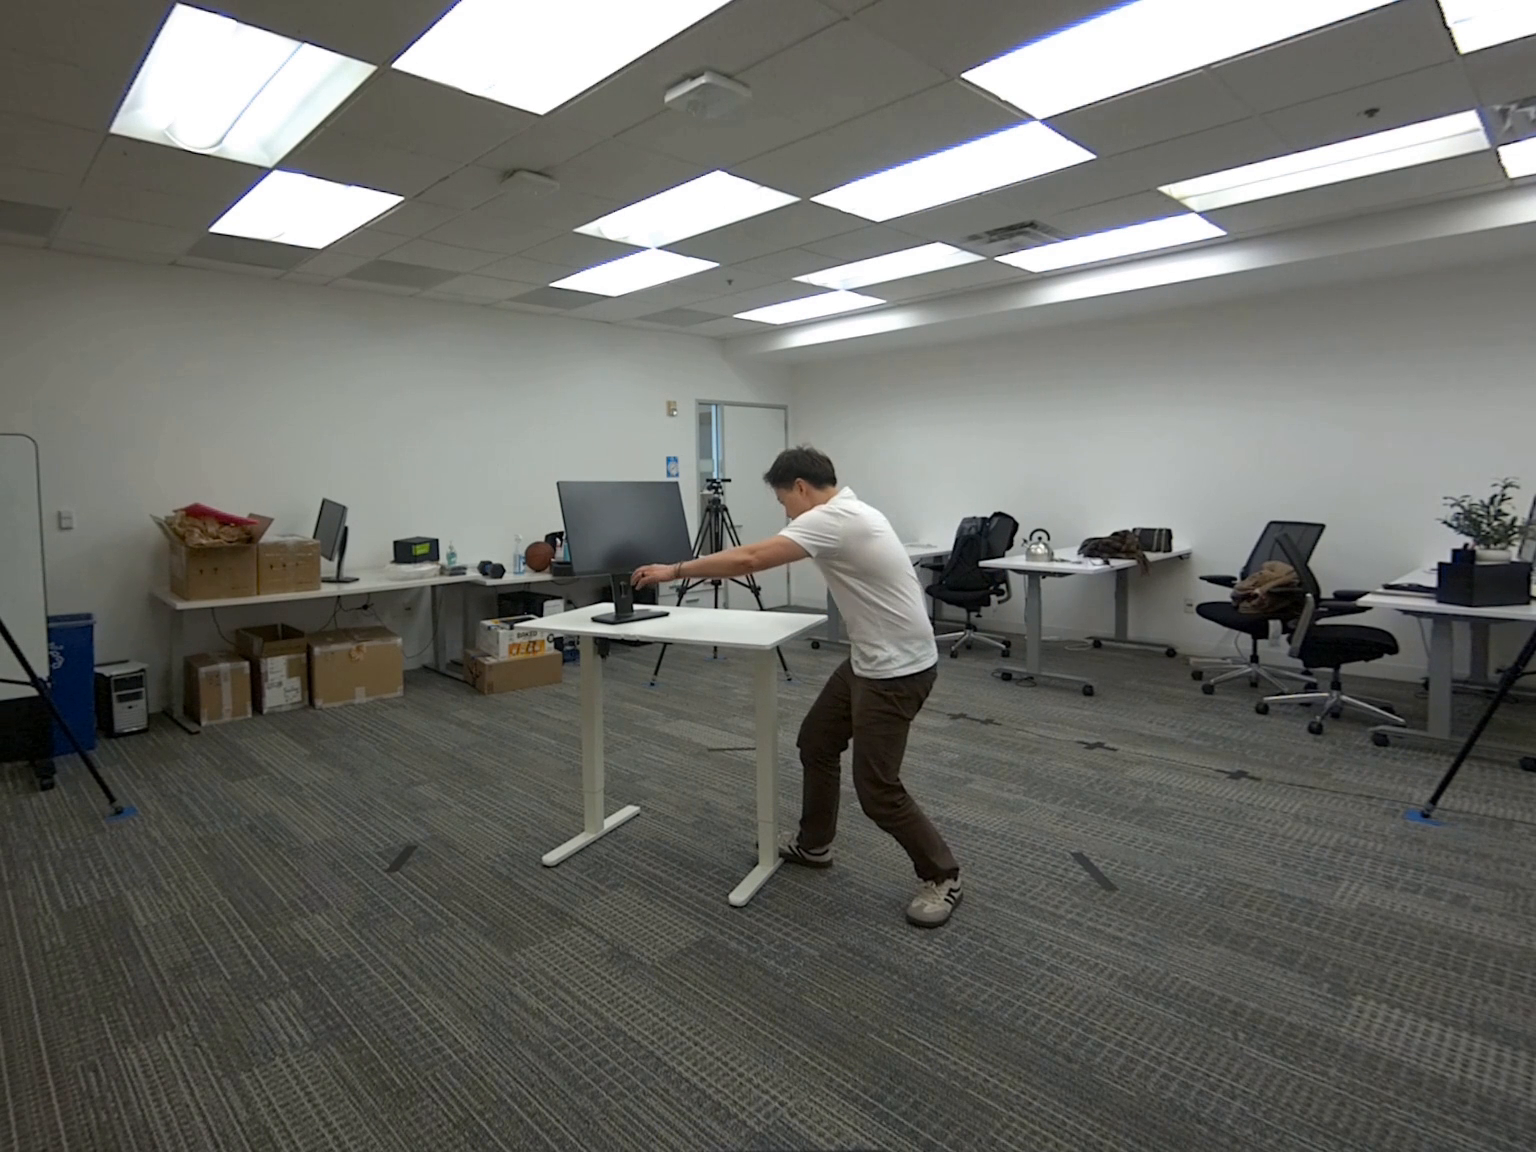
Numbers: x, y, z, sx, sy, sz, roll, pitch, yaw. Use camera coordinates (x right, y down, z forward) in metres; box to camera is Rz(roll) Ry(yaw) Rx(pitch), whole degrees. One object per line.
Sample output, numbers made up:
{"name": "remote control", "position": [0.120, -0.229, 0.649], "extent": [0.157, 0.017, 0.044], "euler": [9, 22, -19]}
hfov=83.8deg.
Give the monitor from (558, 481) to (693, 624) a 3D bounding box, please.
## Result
{"name": "monitor", "position": [-0.534, -0.095, 3.208], "extent": [0.192, 0.522, 0.524], "euler": [-2, 2, 45]}
